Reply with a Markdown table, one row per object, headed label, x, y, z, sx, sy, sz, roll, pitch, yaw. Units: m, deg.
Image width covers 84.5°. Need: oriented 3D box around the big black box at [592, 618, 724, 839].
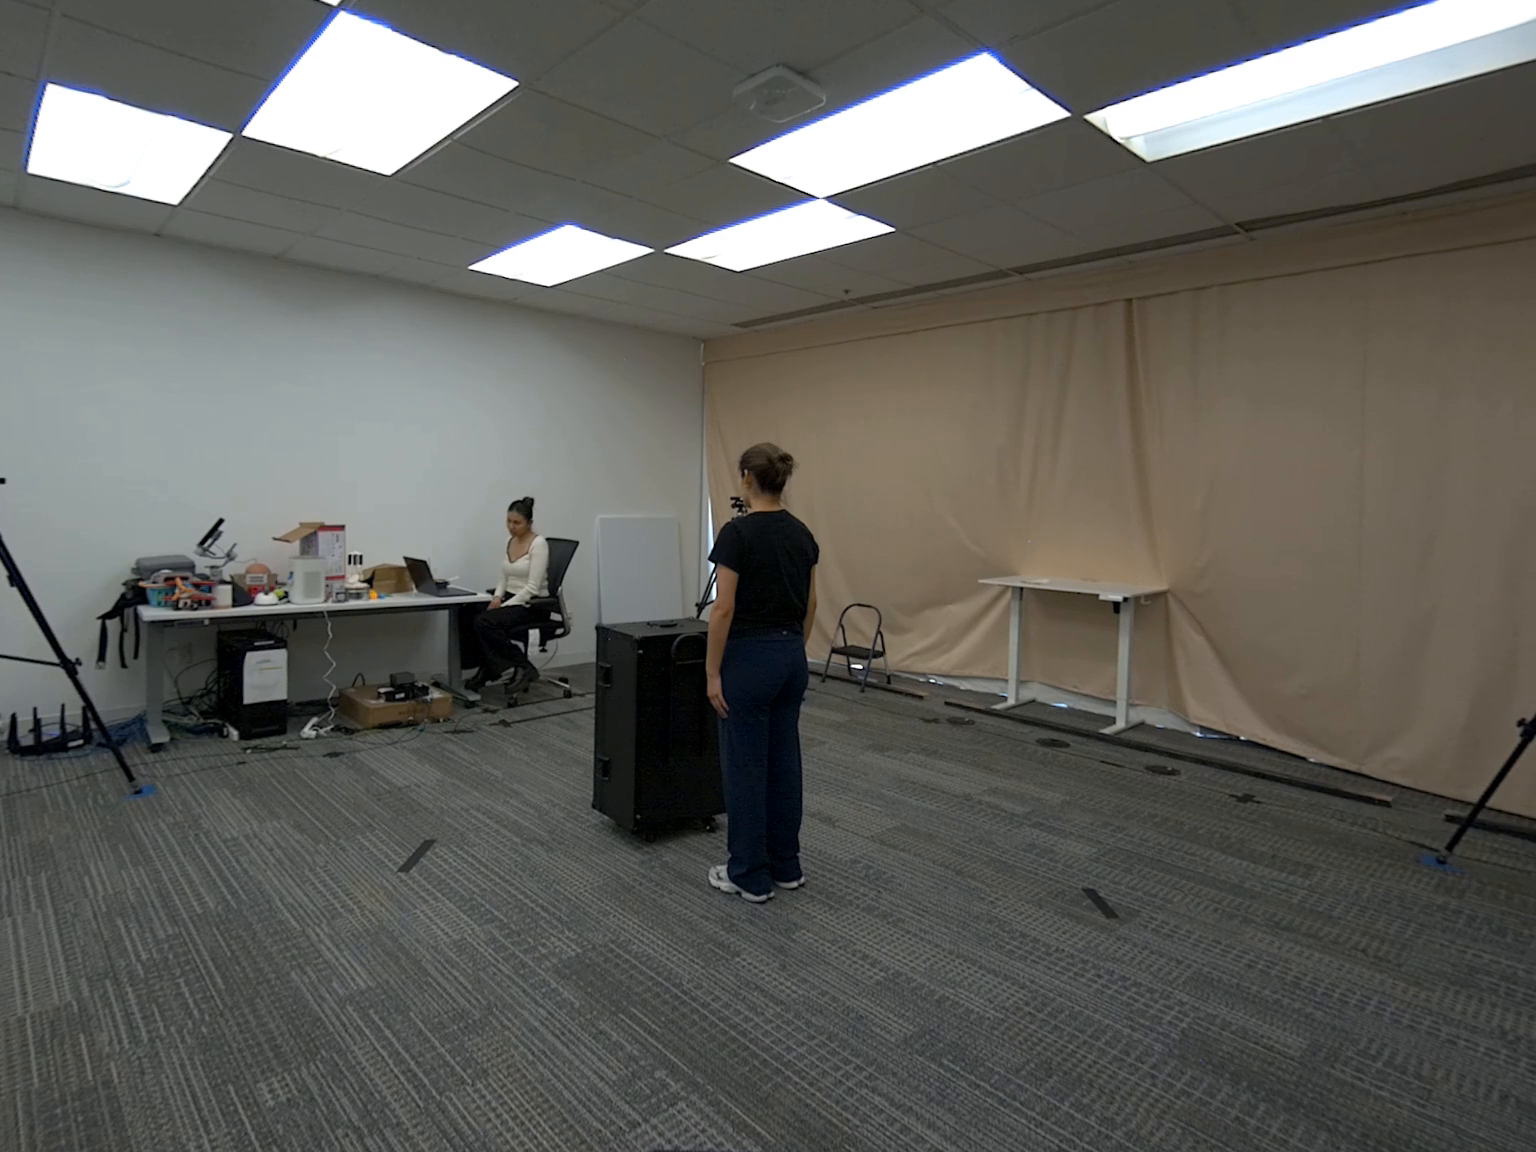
| label | x | y | z | sx | sy | sz | roll | pitch | yaw |
| --- | --- | --- | --- | --- | --- | --- | --- | --- | --- |
| big black box | -0.434 | 0.578 | 3.517 | 0.509 | 0.860 | 0.406 | 0 | 4 | -37 |
